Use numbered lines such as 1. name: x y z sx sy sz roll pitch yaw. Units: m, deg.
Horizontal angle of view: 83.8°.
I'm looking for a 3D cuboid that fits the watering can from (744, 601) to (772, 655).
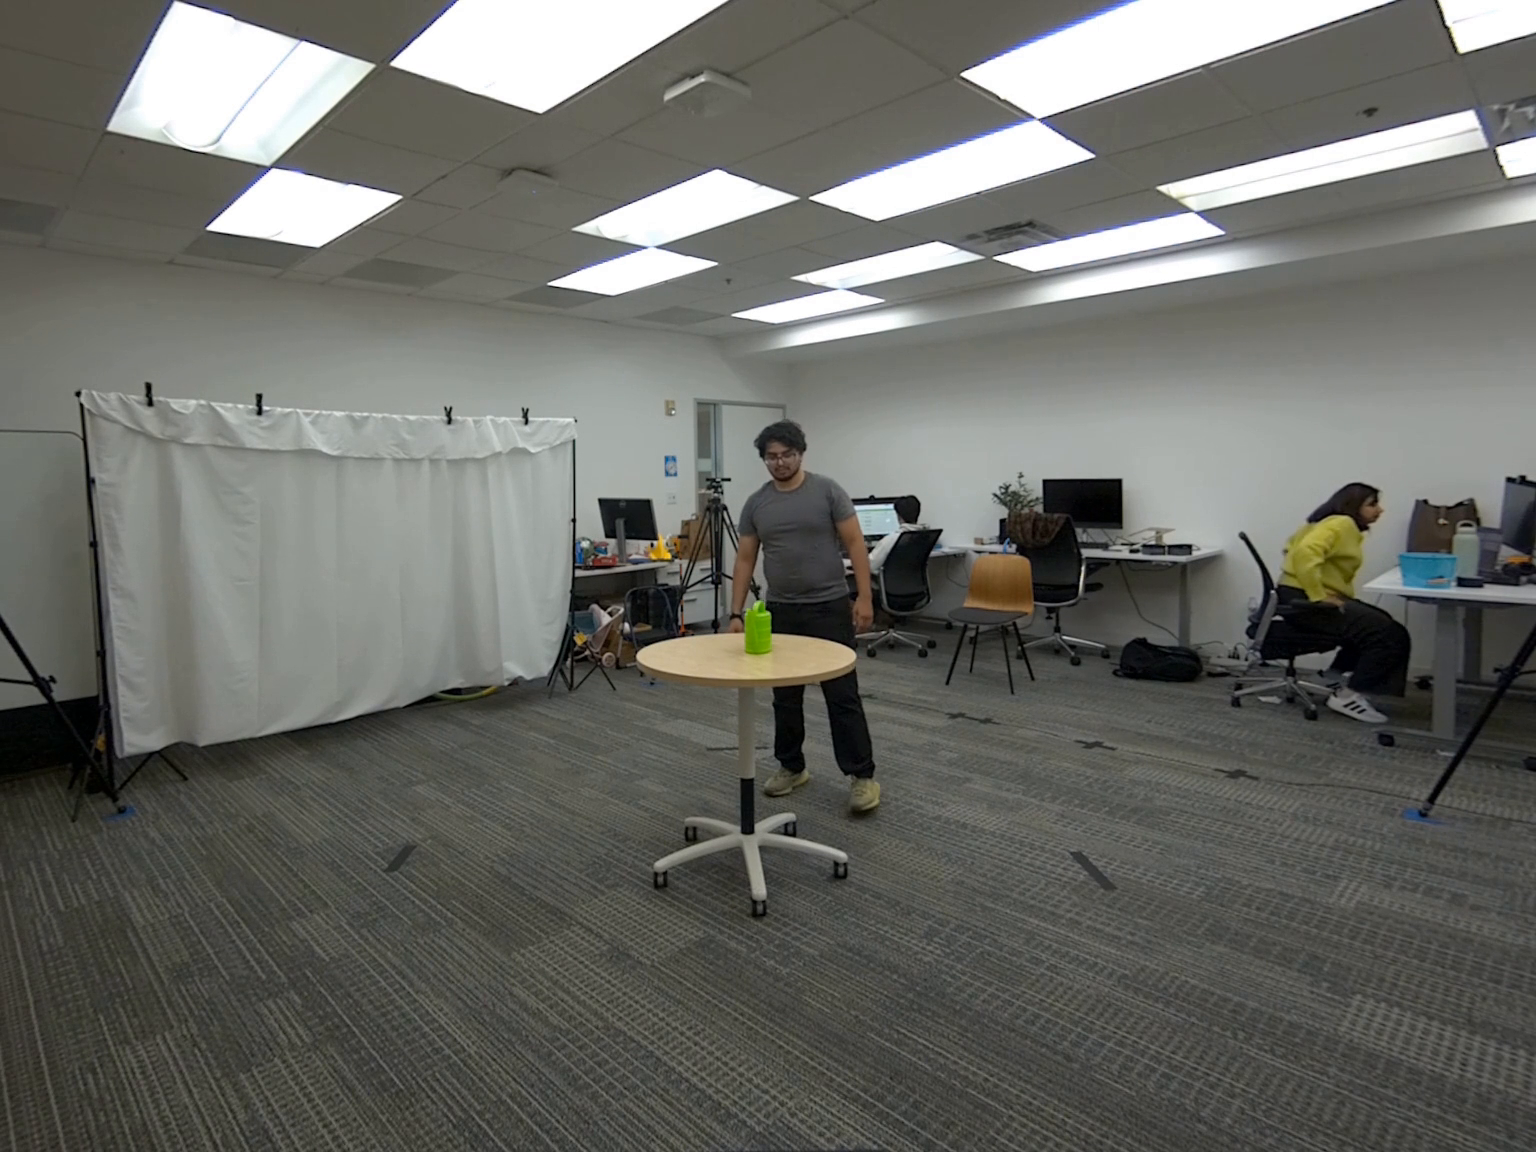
1. watering can: -0.049 0.185 2.996 0.100 0.176 0.273 2 4 20
